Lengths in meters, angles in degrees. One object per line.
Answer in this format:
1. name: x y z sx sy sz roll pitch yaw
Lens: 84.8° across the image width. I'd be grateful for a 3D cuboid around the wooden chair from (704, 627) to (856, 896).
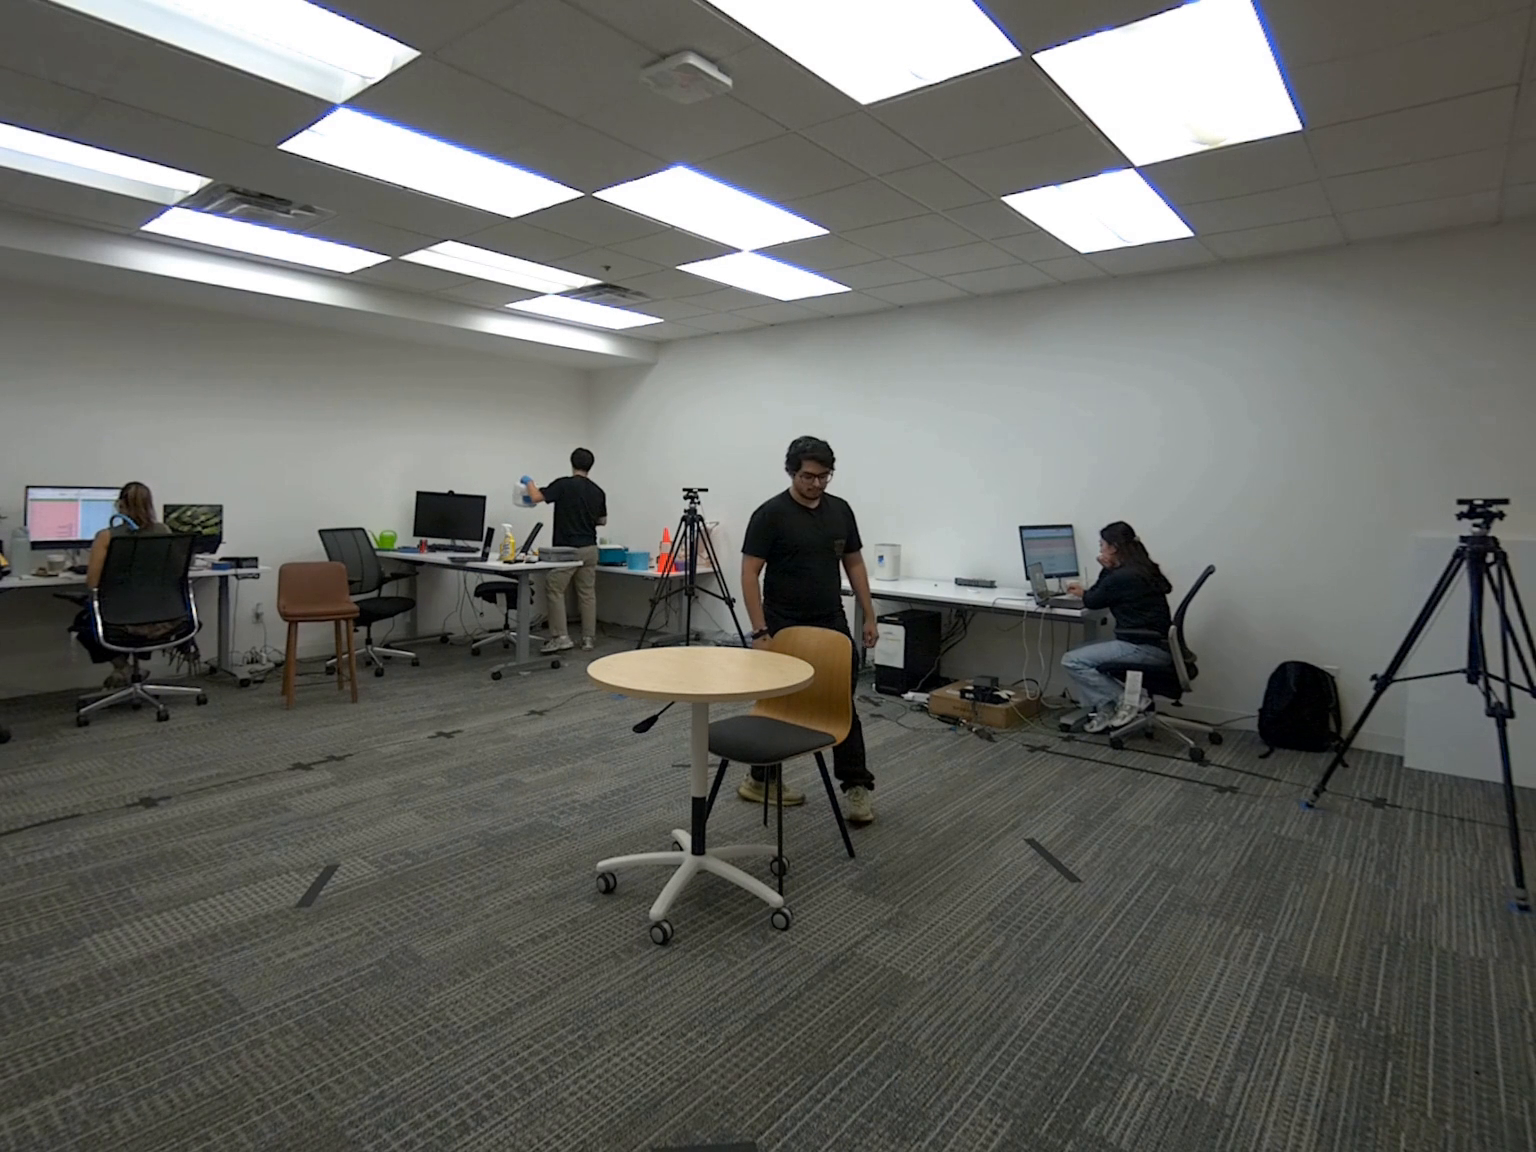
1. wooden chair: 0.009 0.633 3.196 0.495 0.877 0.505 6 1 42
